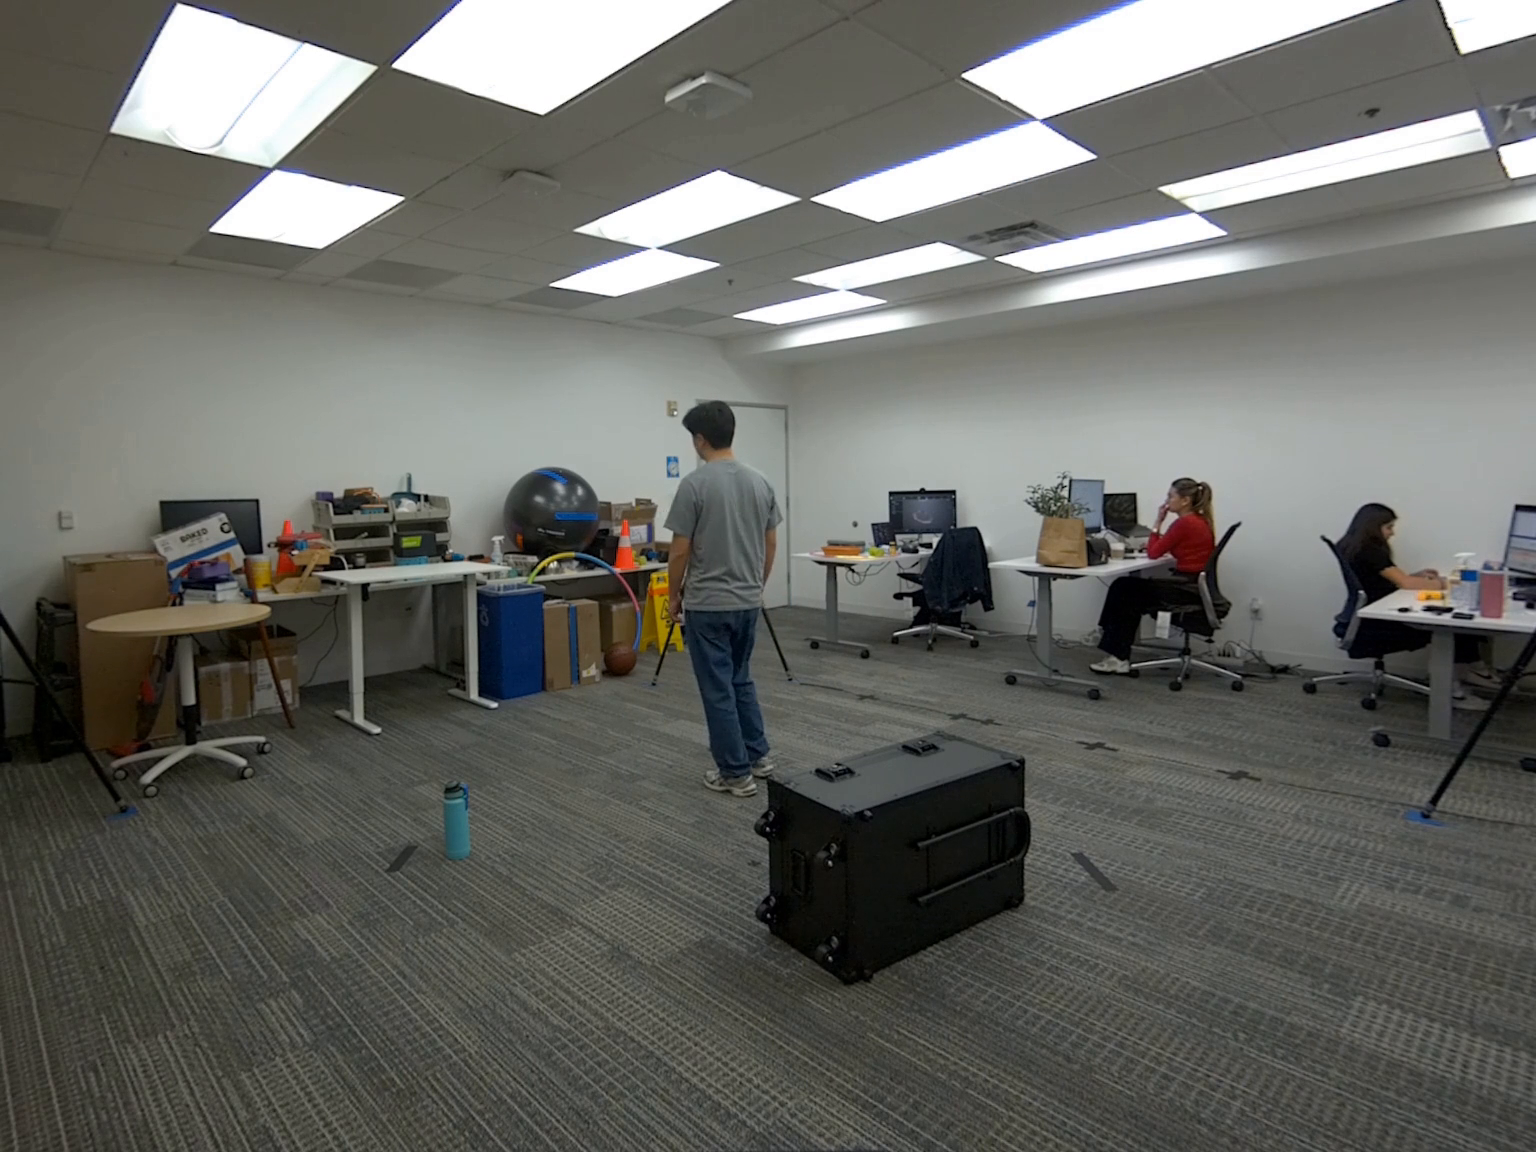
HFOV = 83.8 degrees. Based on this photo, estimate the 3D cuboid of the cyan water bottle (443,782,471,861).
[{"bbox_3d":[-1.175,0.916,3.228,0.092,0.283,0.092,-1,3,-2],"label":"cyan water bottle"}]
